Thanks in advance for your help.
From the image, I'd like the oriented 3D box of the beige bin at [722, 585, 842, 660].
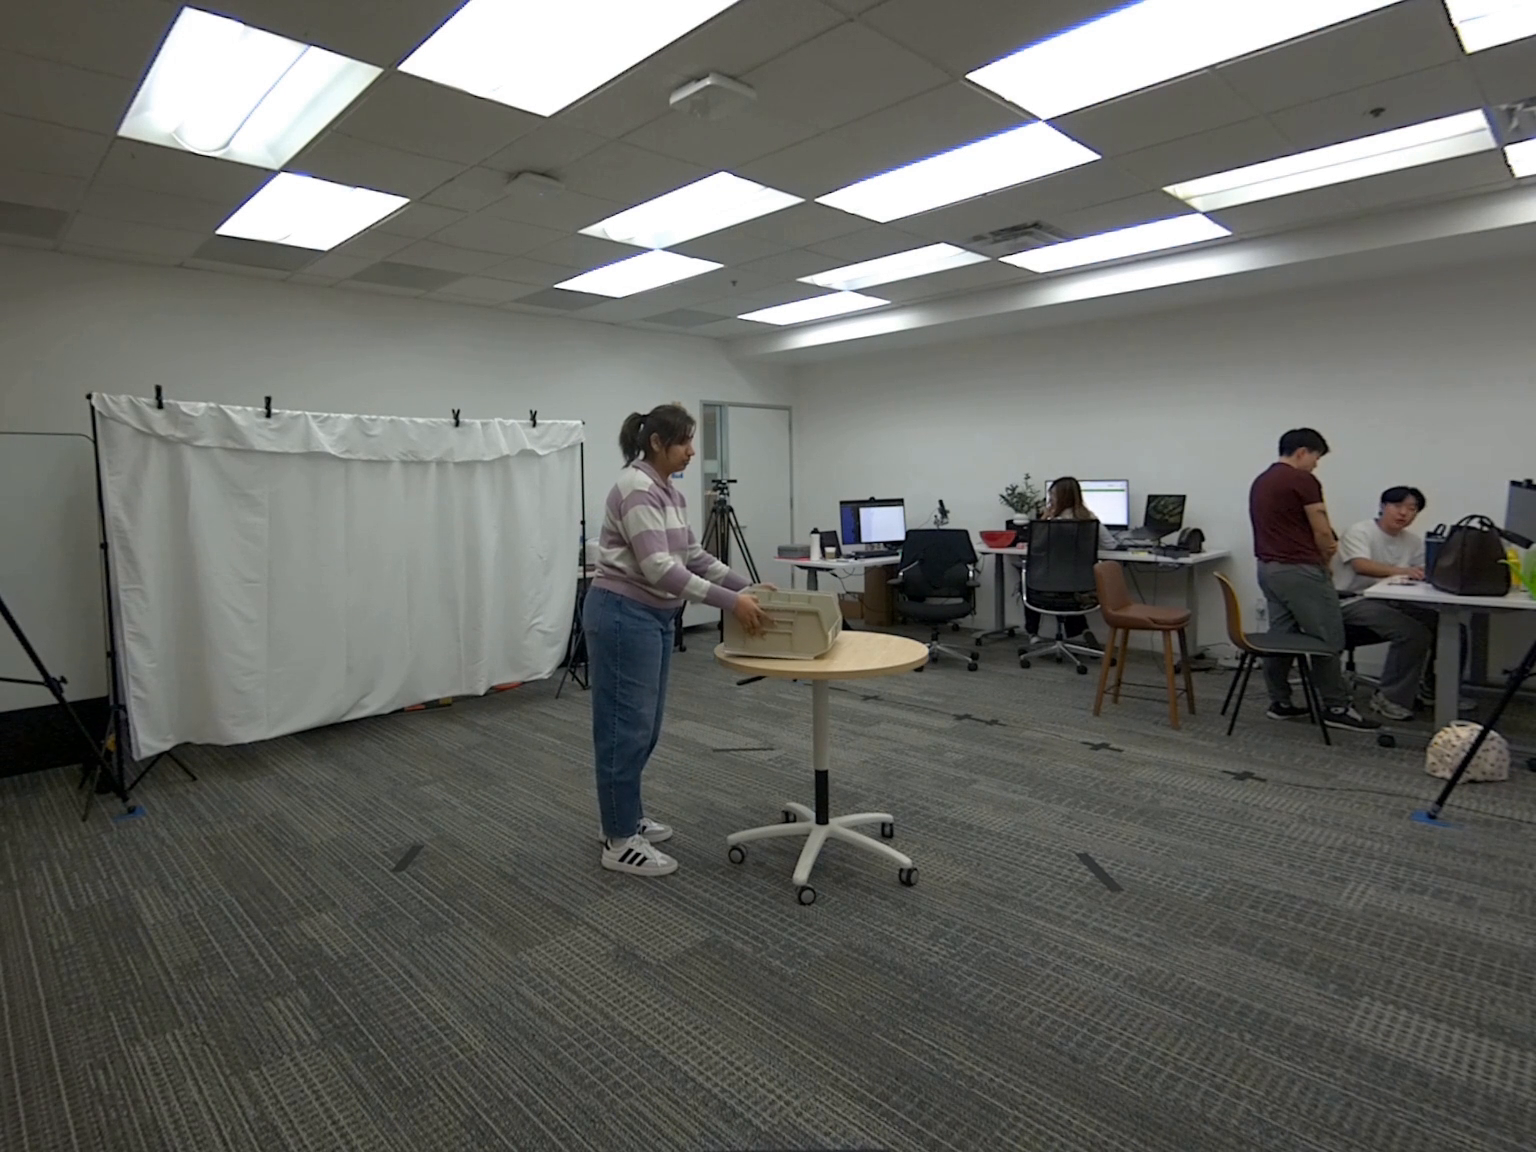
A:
[{"bbox_3d":[0.060,0.168,3.097,0.382,0.188,0.419,2,6,12],"label":"beige bin"}]
